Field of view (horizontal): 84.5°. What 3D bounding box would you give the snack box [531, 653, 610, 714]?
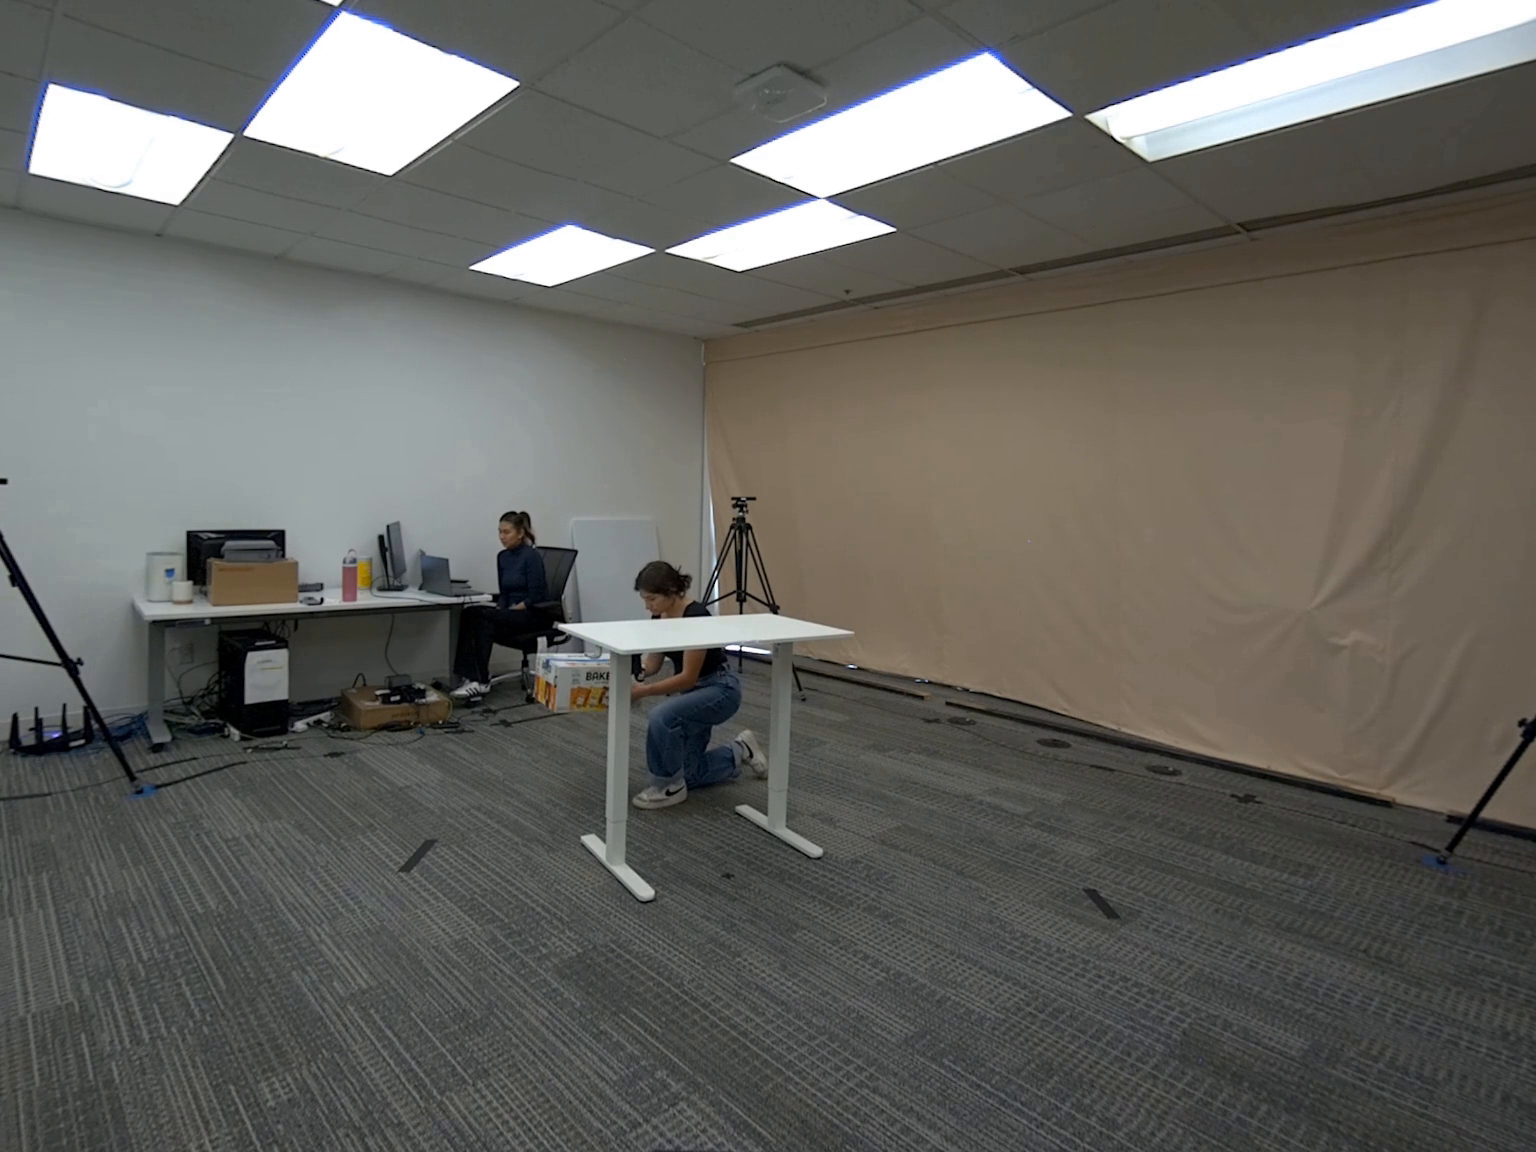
[{"bbox_3d":[-0.822,0.480,3.826,0.396,0.205,0.348,3,3,-31],"label":"snack box"}]
